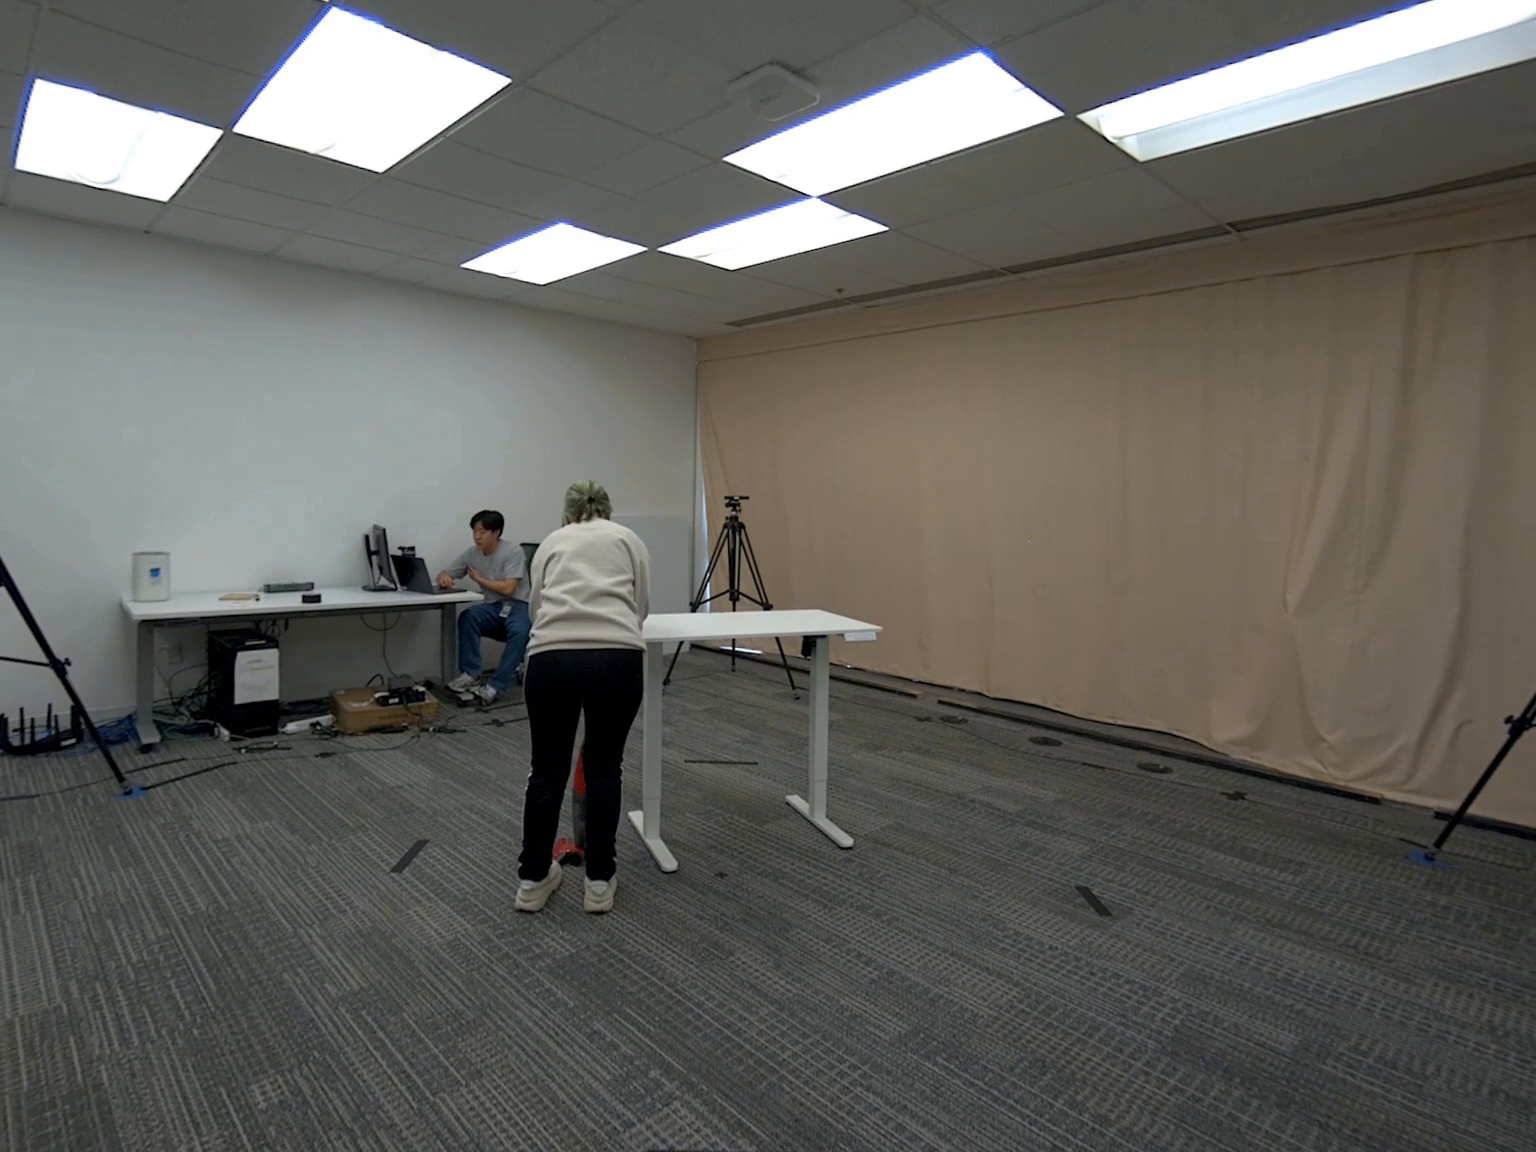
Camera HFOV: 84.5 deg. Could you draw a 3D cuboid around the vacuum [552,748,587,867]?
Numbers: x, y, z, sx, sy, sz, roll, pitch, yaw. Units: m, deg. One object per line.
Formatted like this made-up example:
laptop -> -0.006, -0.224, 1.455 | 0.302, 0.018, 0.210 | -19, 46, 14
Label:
vacuum -> -0.639, 0.588, 3.174 | 0.144, 1.046, 0.252 | 16, 5, 3
